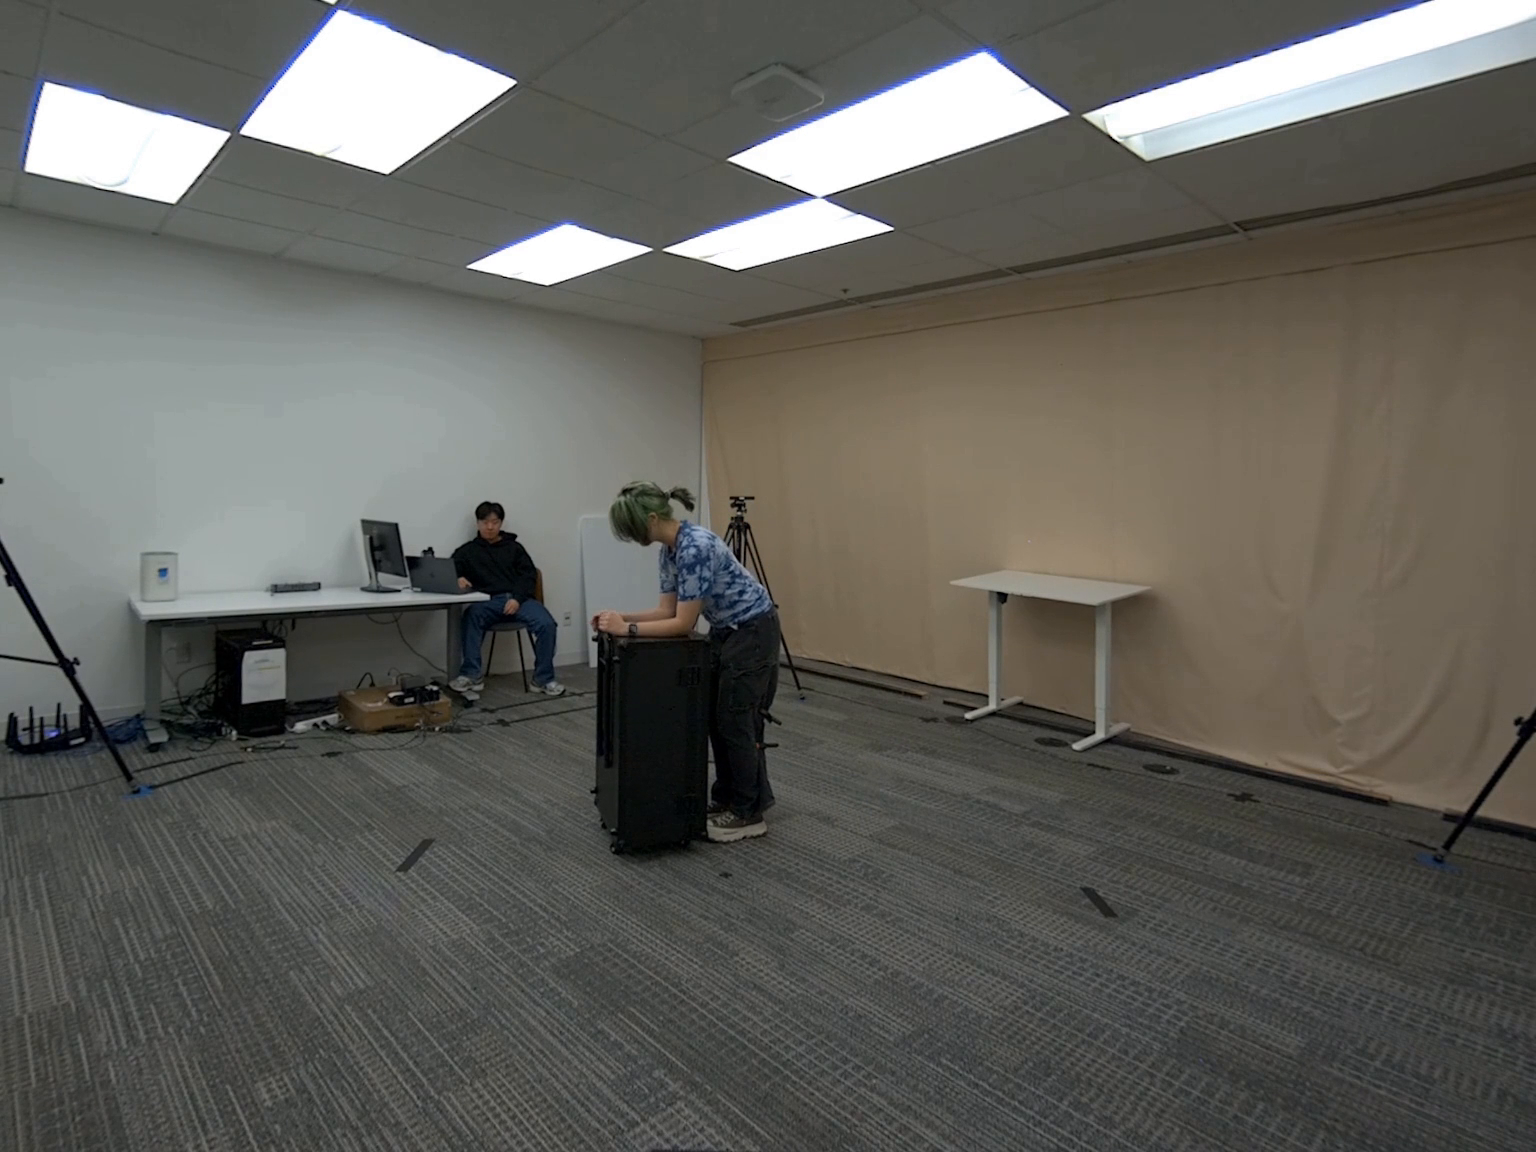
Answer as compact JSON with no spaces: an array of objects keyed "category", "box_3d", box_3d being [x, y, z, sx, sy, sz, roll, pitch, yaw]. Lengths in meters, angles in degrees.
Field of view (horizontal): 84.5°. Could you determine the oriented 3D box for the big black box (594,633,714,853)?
[{"category":"big black box","box_3d":[-0.501,0.580,3.396,0.390,0.859,0.530,1,4,-20]}]
